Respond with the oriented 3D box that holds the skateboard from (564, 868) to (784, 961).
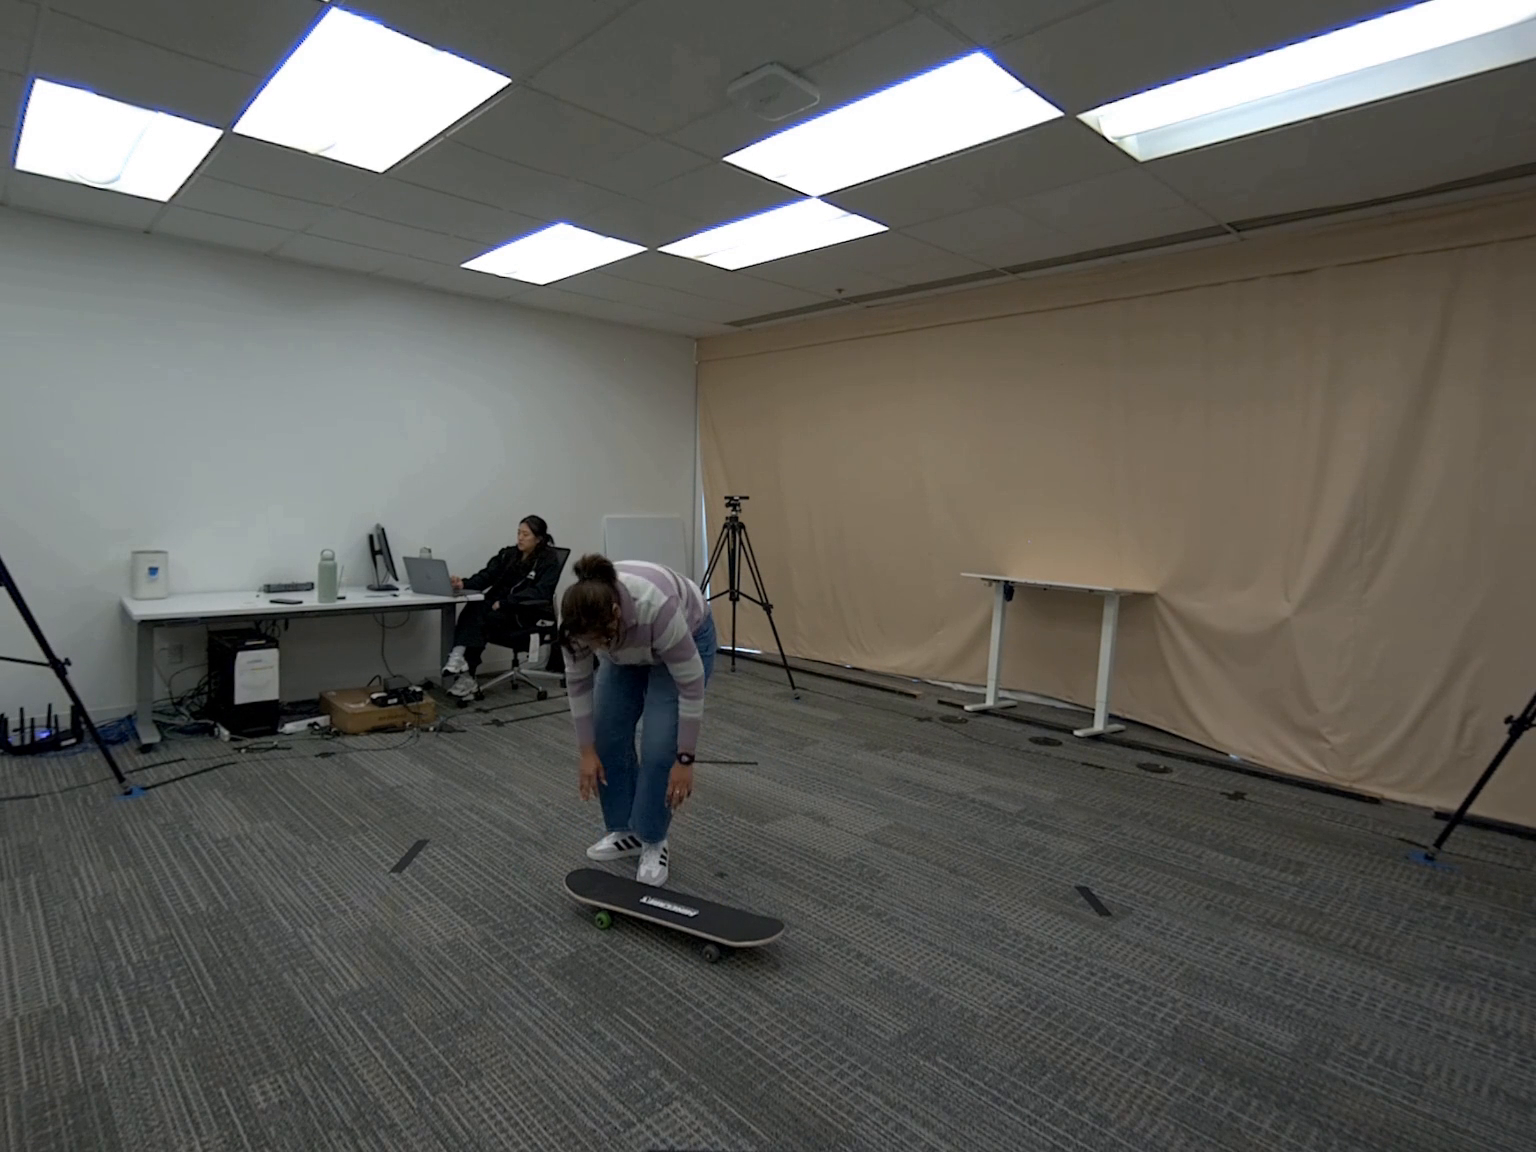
[{"bbox_3d":[-0.320,1.081,2.675,0.801,0.110,0.190,4,4,27],"label":"skateboard"}]
